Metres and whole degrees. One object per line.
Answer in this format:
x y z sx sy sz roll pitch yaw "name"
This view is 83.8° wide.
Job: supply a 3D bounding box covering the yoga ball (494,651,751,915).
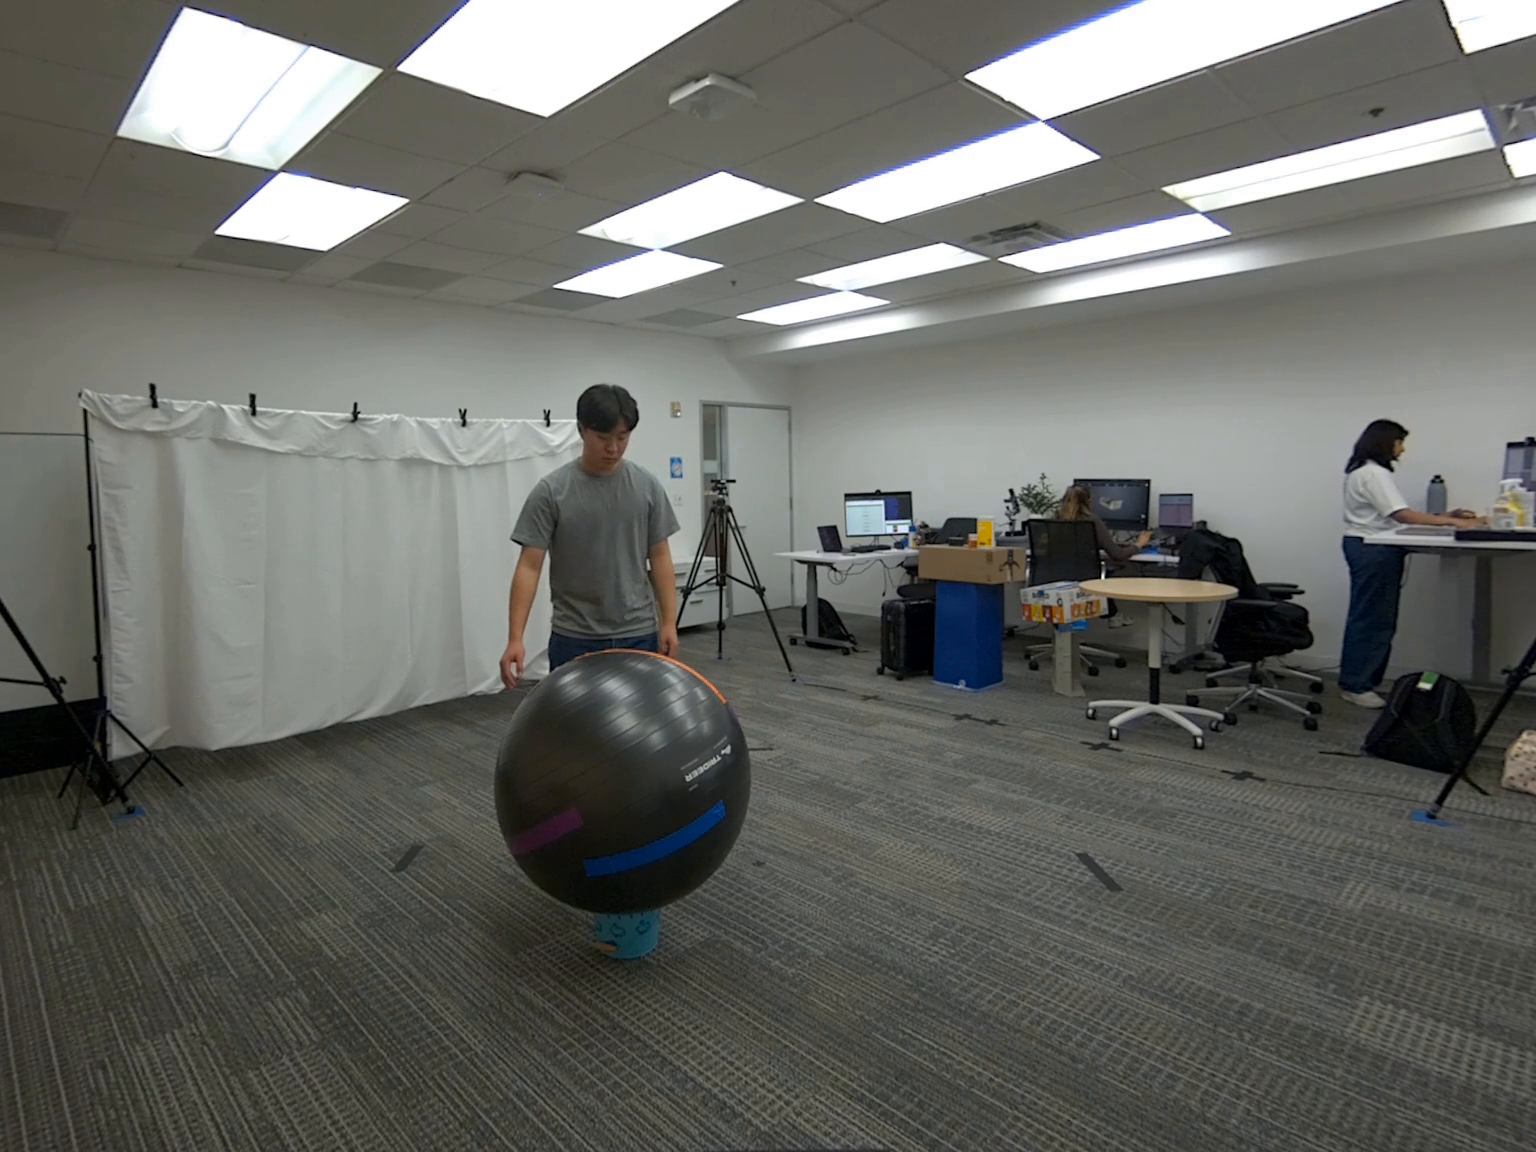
-0.438 0.611 2.551 0.757 0.755 0.762 -1 5 -2 "yoga ball"
